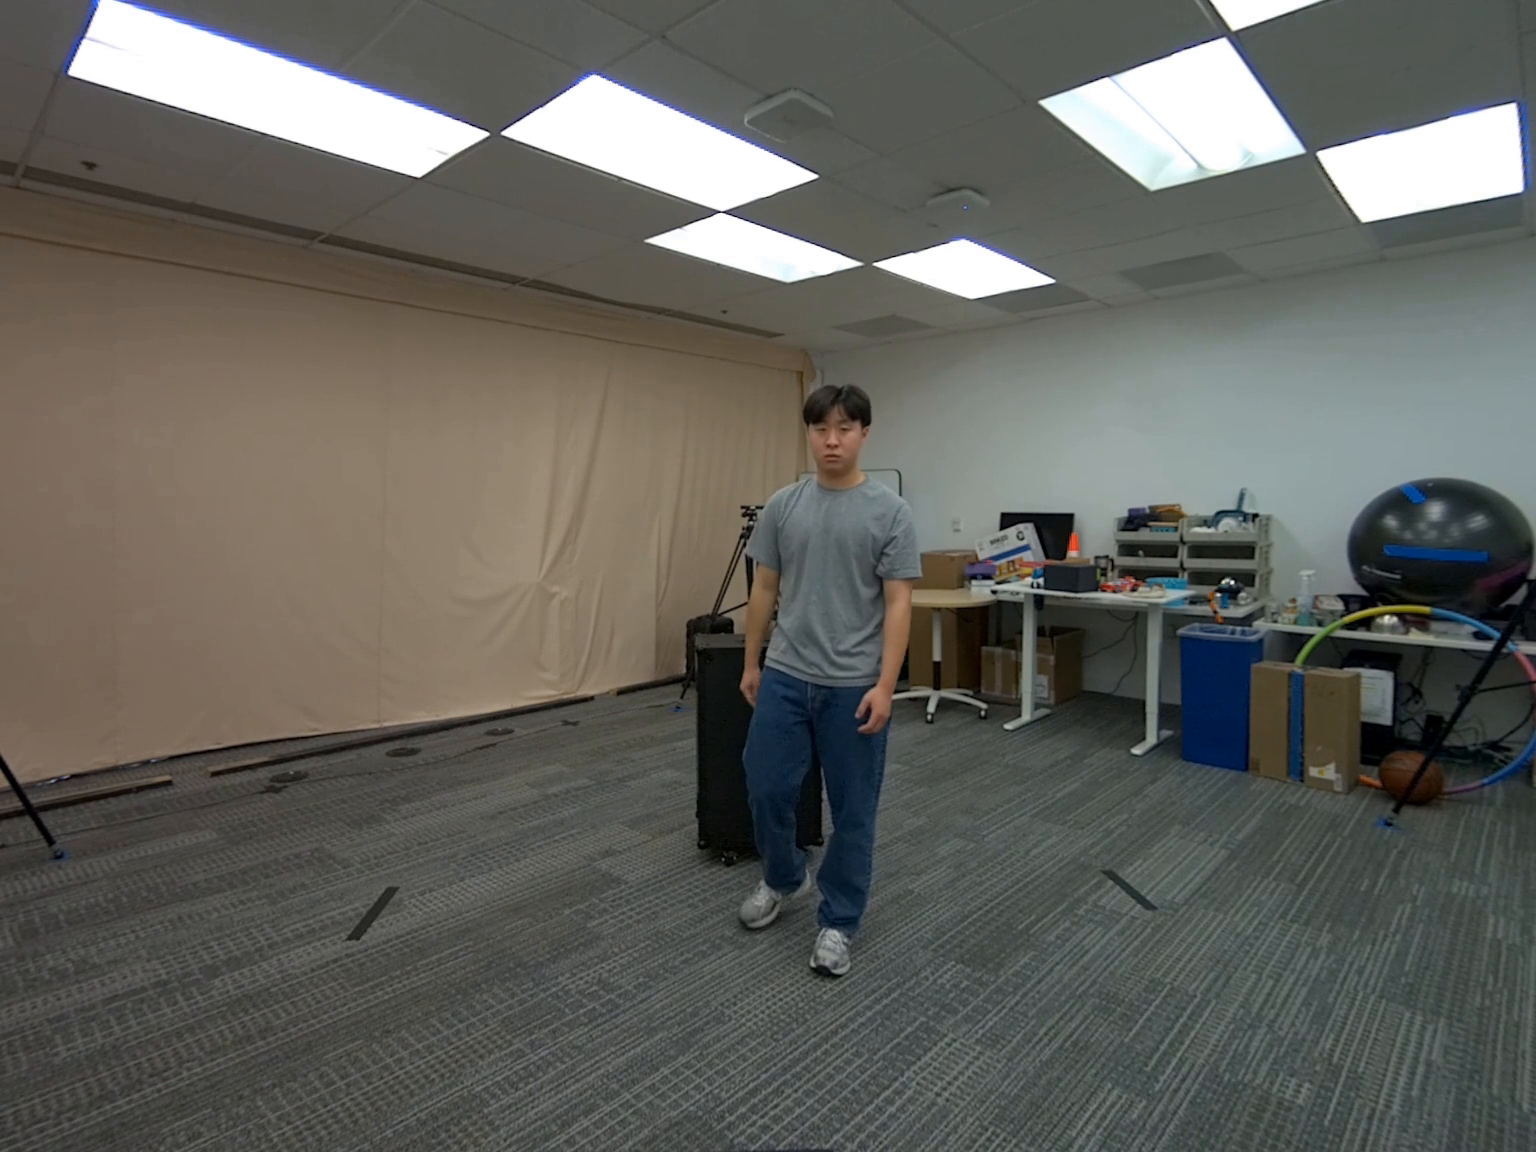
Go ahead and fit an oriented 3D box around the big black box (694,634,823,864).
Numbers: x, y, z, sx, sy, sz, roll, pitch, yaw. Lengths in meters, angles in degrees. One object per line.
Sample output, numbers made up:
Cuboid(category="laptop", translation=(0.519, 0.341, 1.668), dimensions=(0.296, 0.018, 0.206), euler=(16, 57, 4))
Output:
Cuboid(category="big black box", translation=(-0.038, 0.623, 3.416), dimensions=(0.520, 0.859, 0.398), euler=(0, 3, -2))
